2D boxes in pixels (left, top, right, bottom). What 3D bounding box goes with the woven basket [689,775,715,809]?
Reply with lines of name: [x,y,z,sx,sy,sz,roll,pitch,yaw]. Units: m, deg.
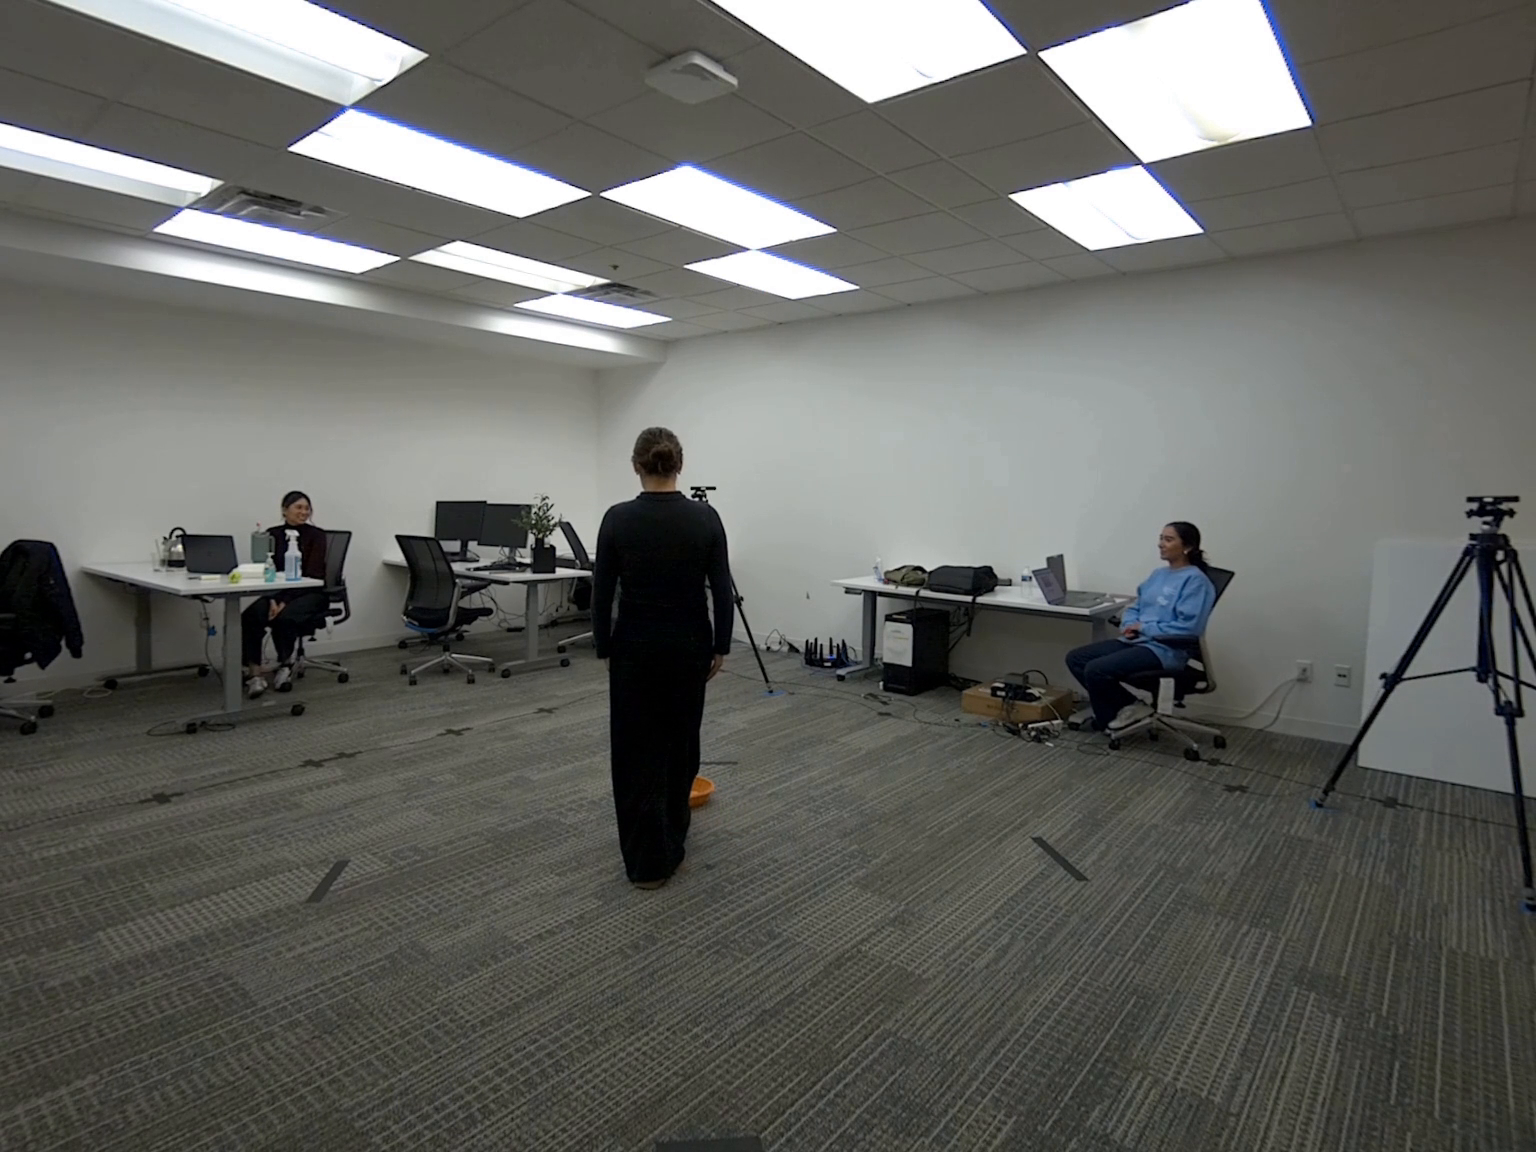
woven basket: [-0.411,0.955,3.747,0.341,0.073,0.261,-3,8,-34]
